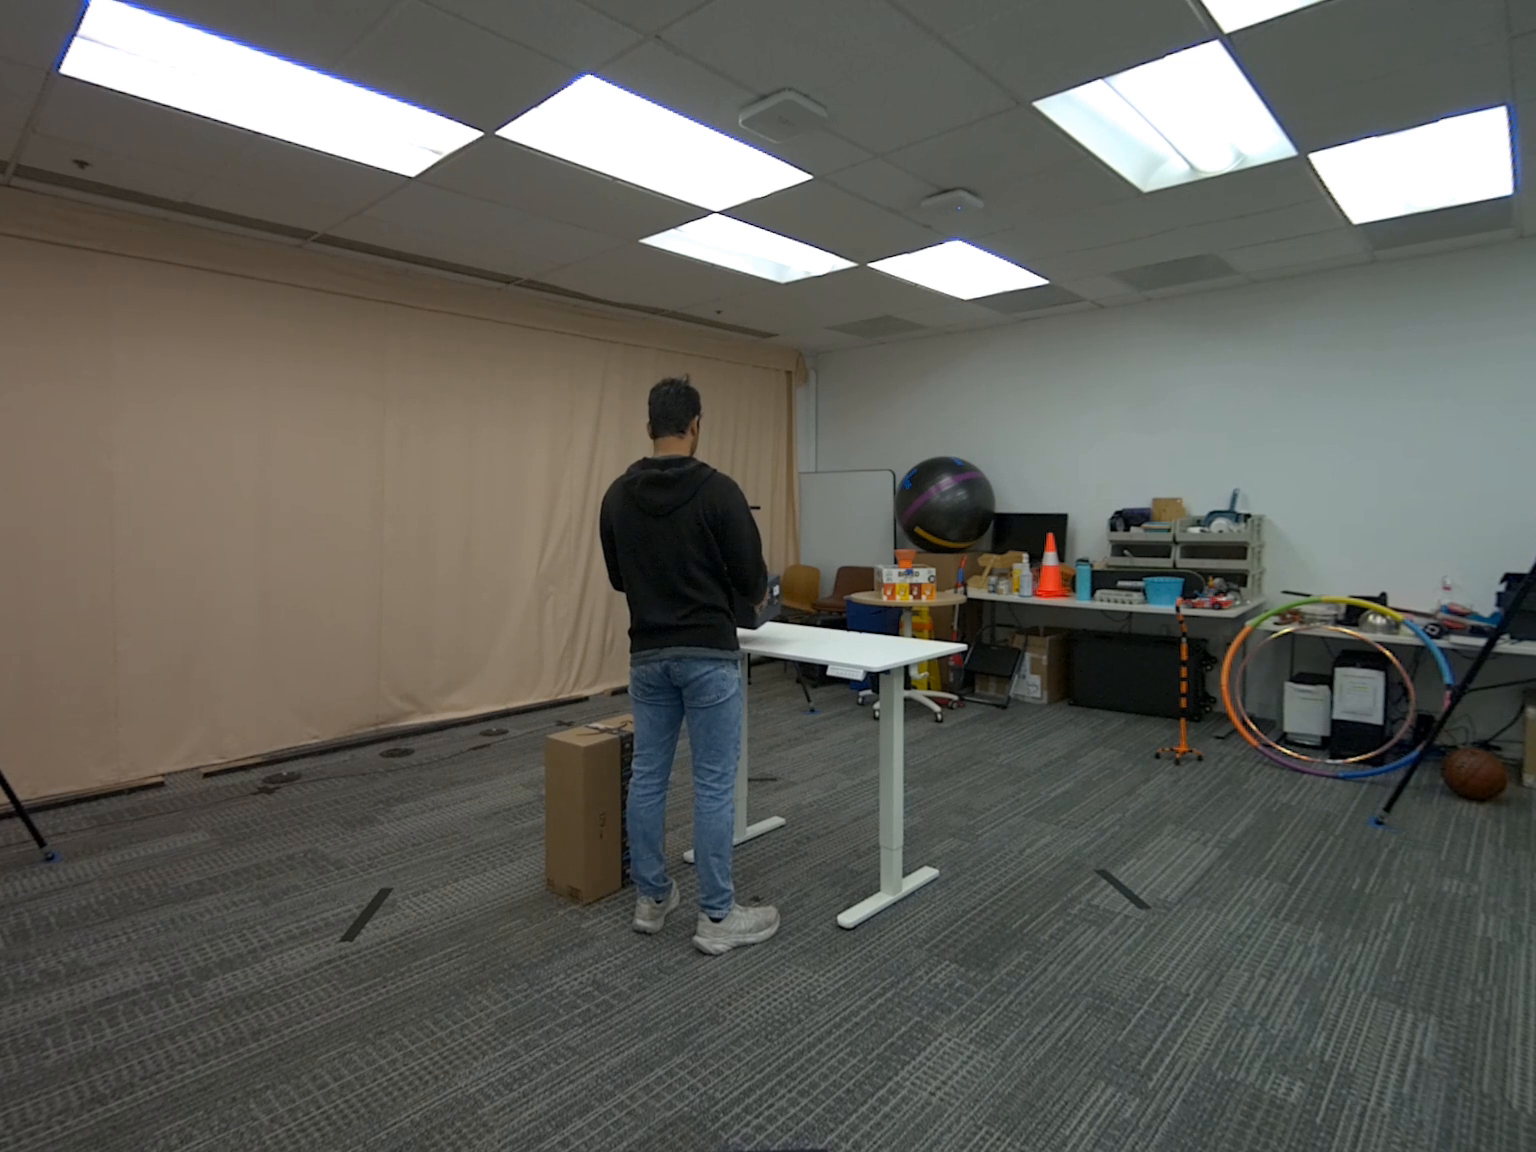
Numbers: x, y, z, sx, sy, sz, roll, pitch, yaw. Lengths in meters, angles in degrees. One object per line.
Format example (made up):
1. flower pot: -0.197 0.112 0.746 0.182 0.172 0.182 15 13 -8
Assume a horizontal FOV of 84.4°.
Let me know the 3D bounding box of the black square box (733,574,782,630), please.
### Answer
1. black square box: -0.103 0.088 3.188 0.234 0.154 0.213 6 16 23
